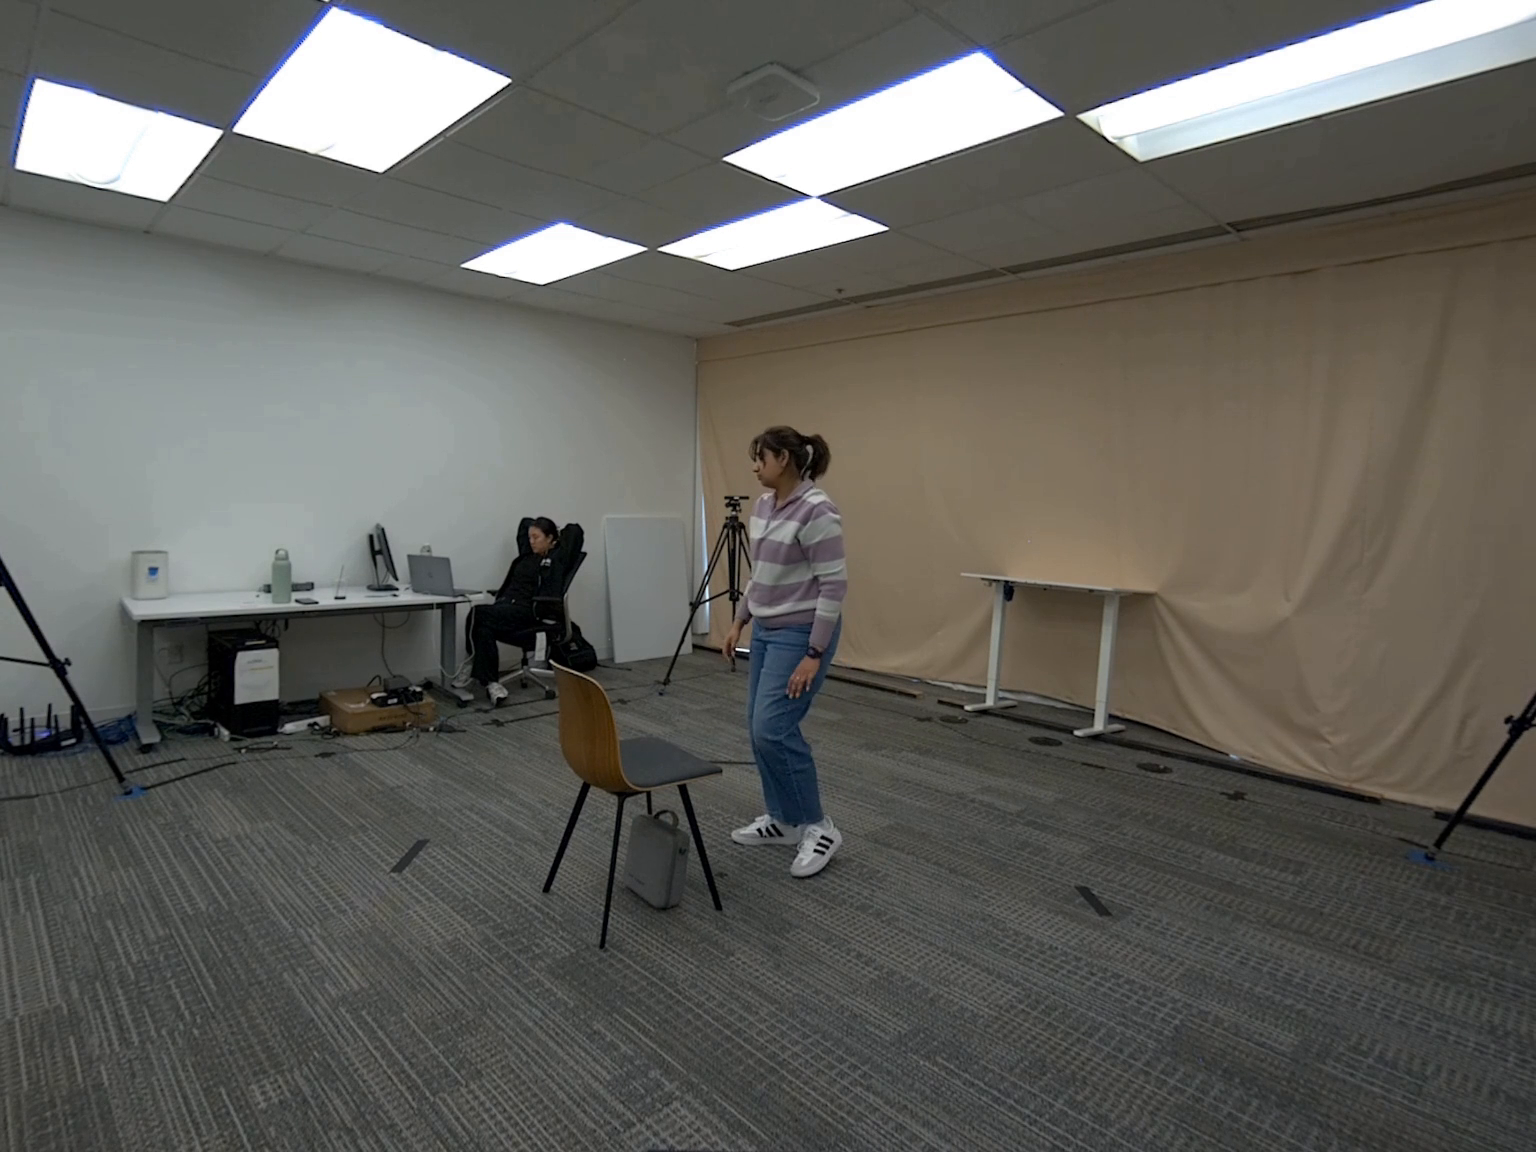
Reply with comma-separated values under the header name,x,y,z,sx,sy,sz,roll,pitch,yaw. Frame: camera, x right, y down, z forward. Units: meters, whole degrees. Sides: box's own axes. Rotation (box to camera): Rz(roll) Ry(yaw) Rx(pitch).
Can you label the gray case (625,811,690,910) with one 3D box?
name,x,y,z,sx,sy,sz,roll,pitch,yaw
gray case,-0.402,0.989,2.932,0.101,0.261,0.263,11,-2,-38
